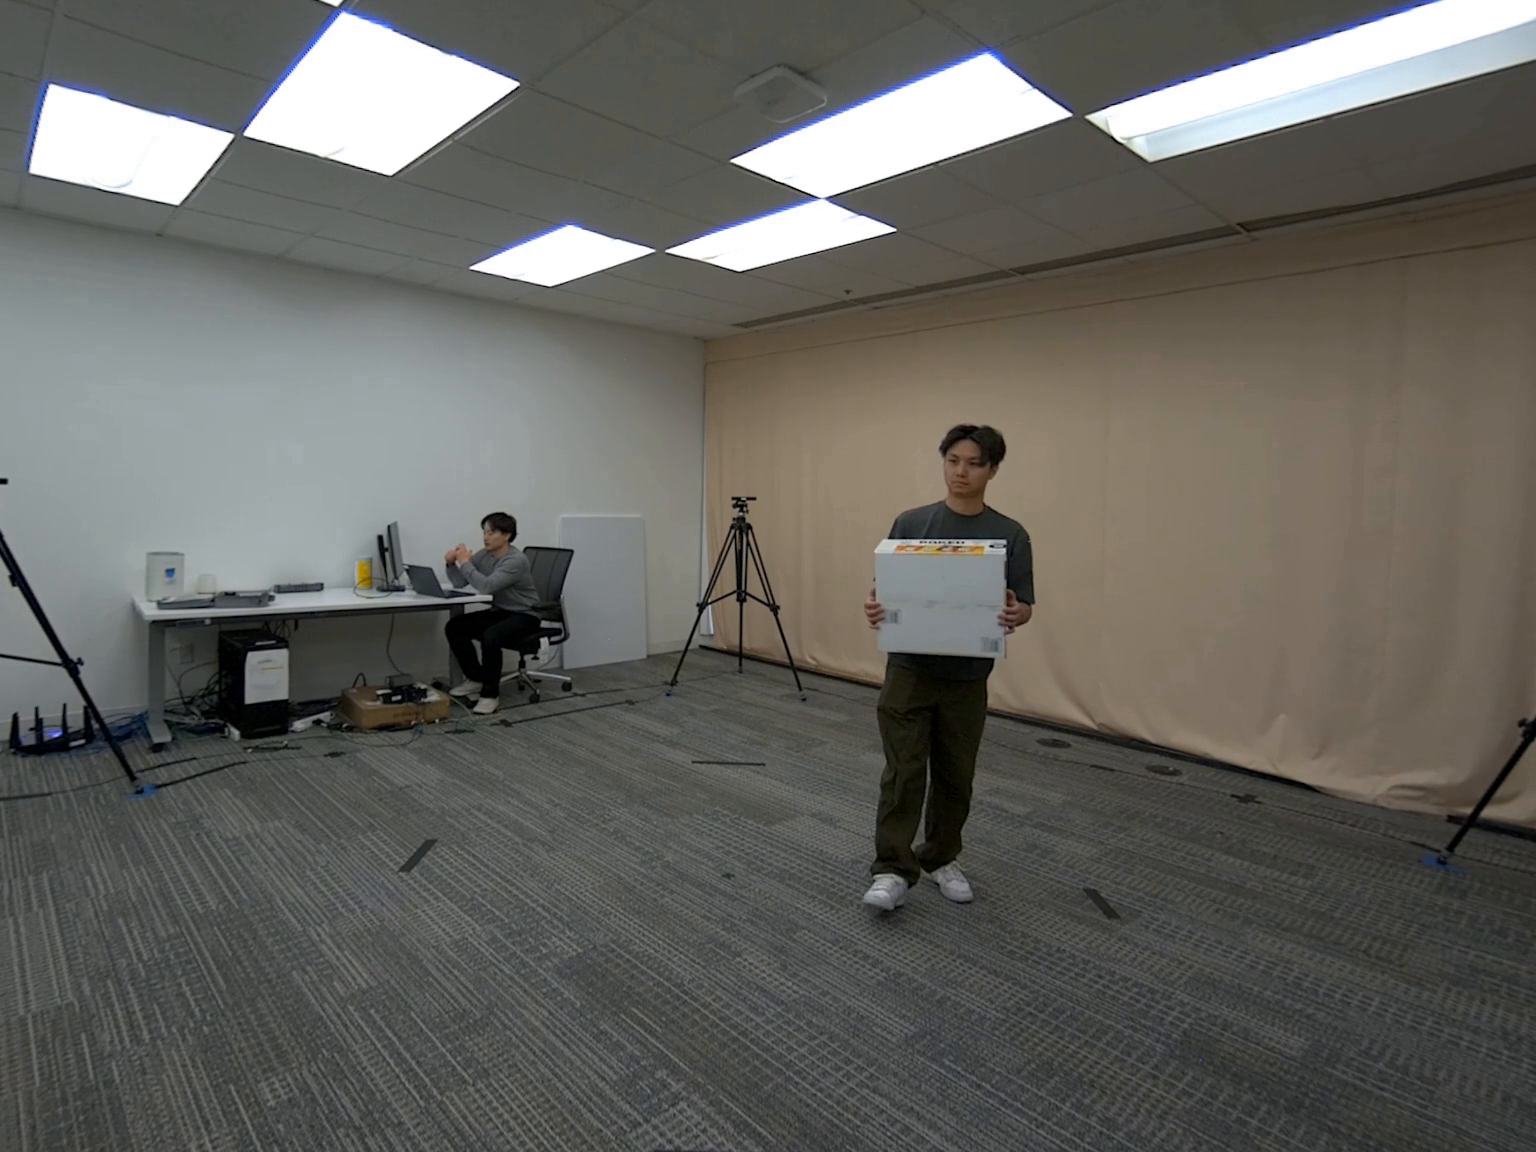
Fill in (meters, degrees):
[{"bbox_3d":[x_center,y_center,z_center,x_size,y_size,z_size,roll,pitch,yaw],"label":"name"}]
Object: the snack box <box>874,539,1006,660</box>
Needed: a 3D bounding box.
[{"bbox_3d":[0.554,0.067,2.746,0.411,0.337,0.204,0,12,20],"label":"snack box"}]
